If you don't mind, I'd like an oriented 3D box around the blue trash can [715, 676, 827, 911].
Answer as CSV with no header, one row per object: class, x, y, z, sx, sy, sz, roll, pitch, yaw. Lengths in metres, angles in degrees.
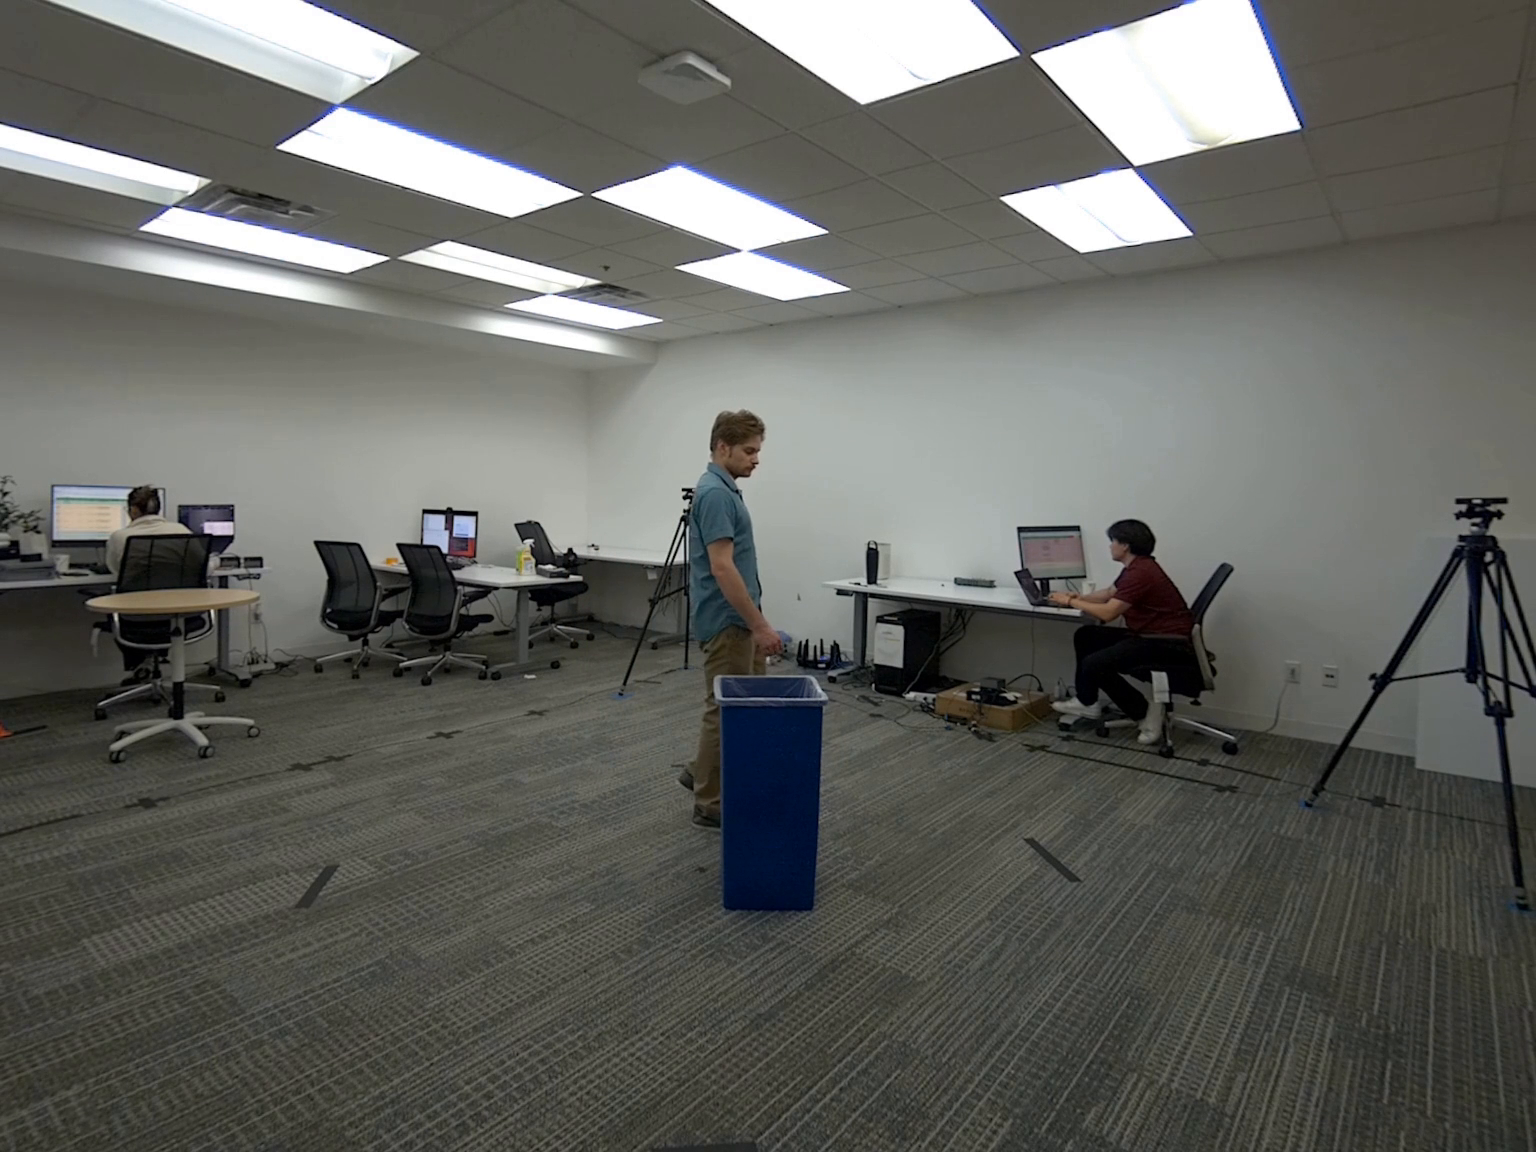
blue trash can,-0.011,0.733,2.956,0.377,0.711,0.376,0,3,-4
